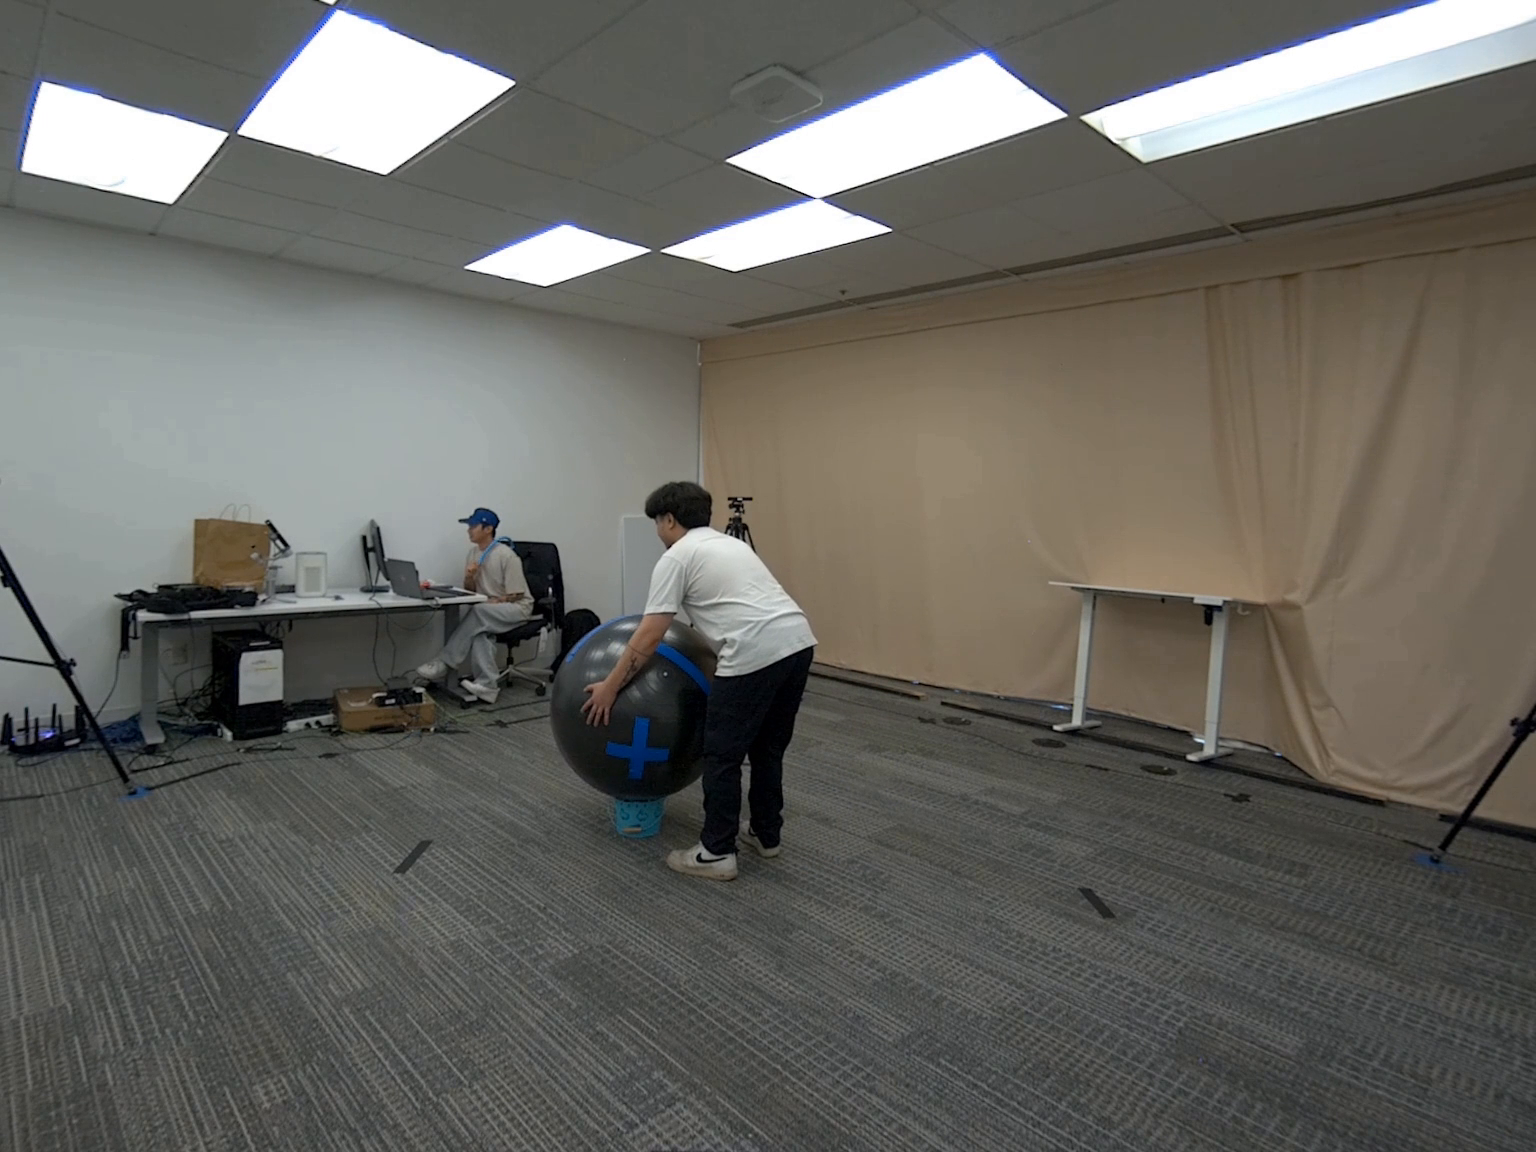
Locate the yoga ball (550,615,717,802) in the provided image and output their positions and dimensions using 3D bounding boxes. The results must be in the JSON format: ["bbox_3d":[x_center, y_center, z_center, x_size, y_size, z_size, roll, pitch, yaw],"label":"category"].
[{"bbox_3d":[-0.533,0.544,3.522,0.757,0.756,0.760,1,4,-1],"label":"yoga ball"}]
